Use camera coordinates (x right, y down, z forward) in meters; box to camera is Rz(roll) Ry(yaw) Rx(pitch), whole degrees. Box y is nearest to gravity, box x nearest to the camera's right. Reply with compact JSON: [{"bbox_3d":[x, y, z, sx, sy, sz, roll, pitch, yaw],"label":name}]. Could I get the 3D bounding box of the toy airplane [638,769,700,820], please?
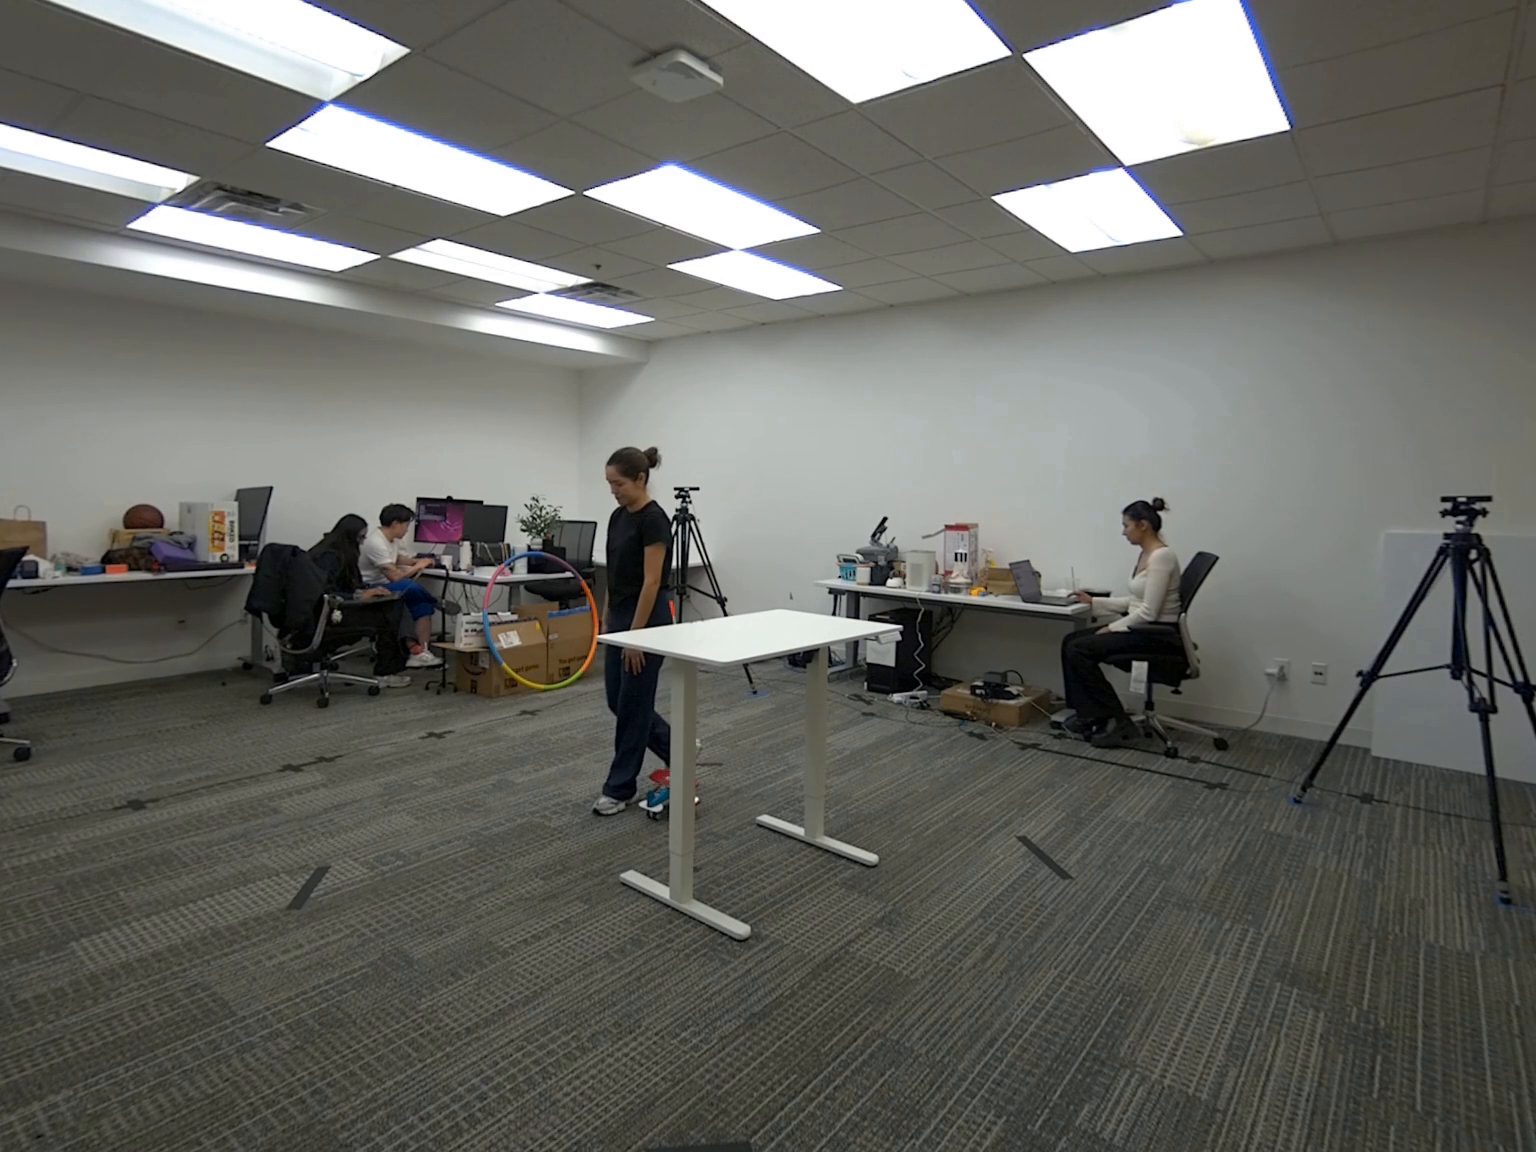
[{"bbox_3d":[-0.397,0.934,3.645,0.254,0.156,0.256,2,4,11],"label":"toy airplane"}]
